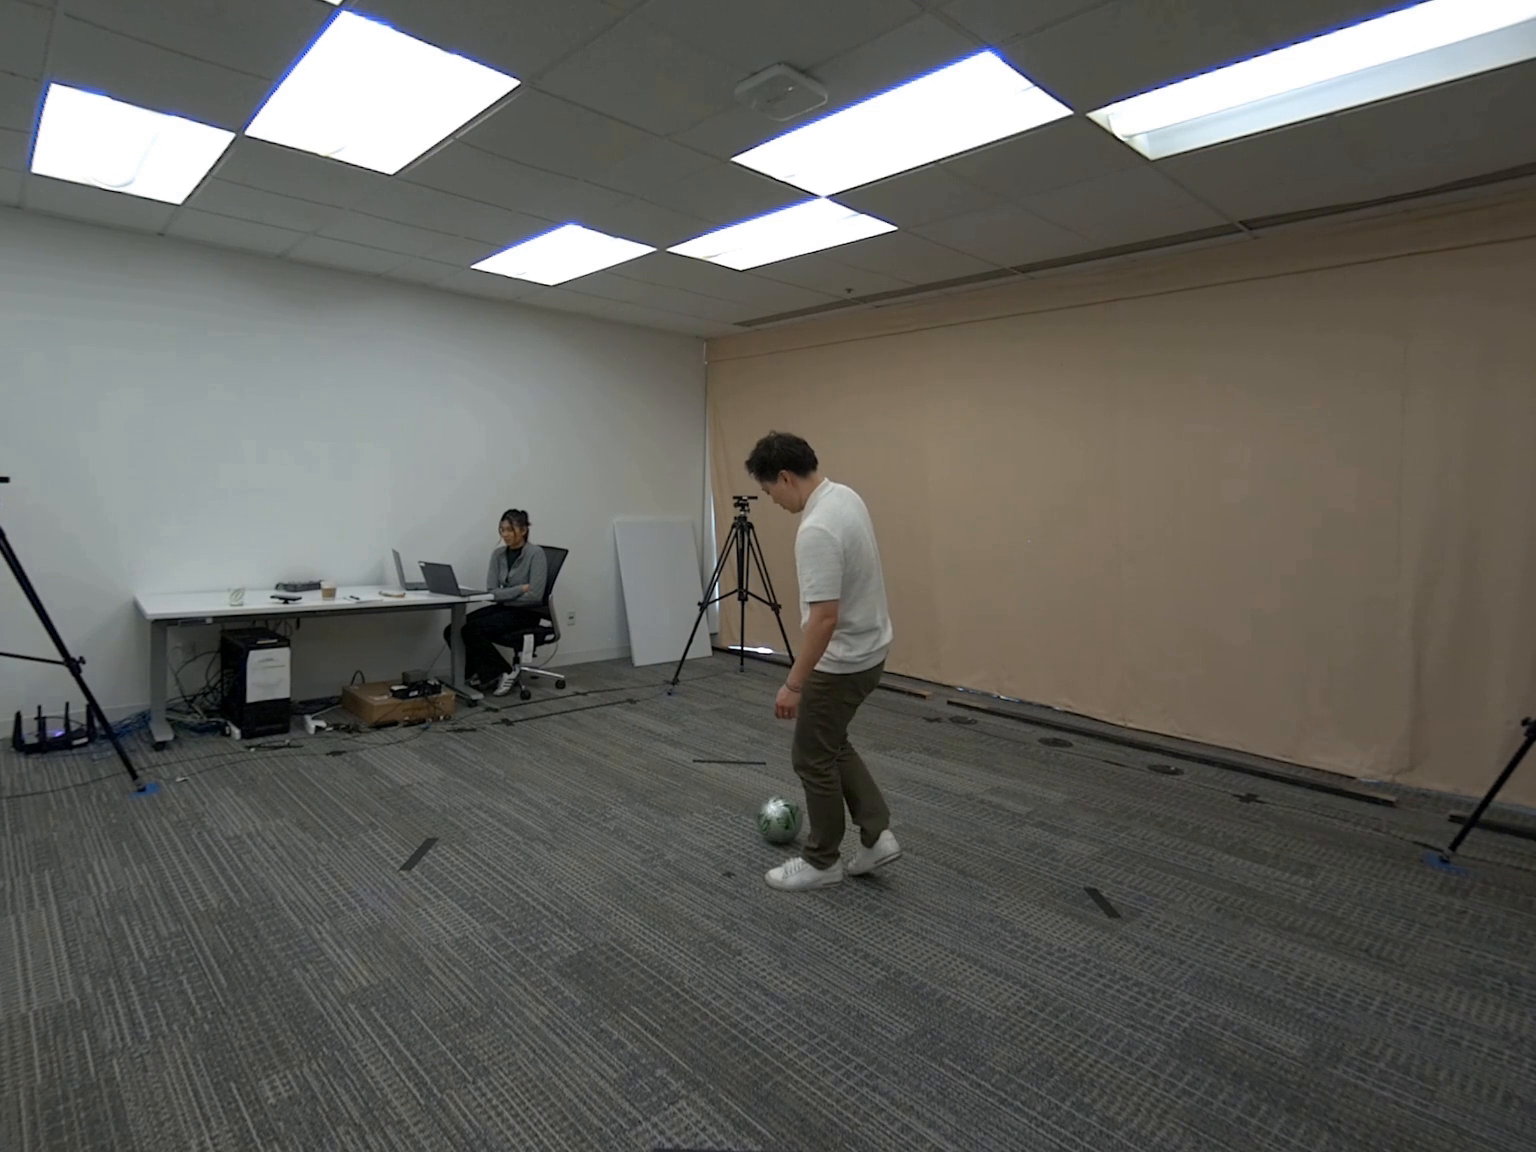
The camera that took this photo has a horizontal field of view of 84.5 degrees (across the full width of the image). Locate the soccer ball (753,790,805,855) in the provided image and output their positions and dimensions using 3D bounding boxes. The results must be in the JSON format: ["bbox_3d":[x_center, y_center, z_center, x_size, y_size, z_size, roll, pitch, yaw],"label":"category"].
[{"bbox_3d":[0.040,0.988,3.409,0.187,0.187,0.188,1,4,-1],"label":"soccer ball"}]
